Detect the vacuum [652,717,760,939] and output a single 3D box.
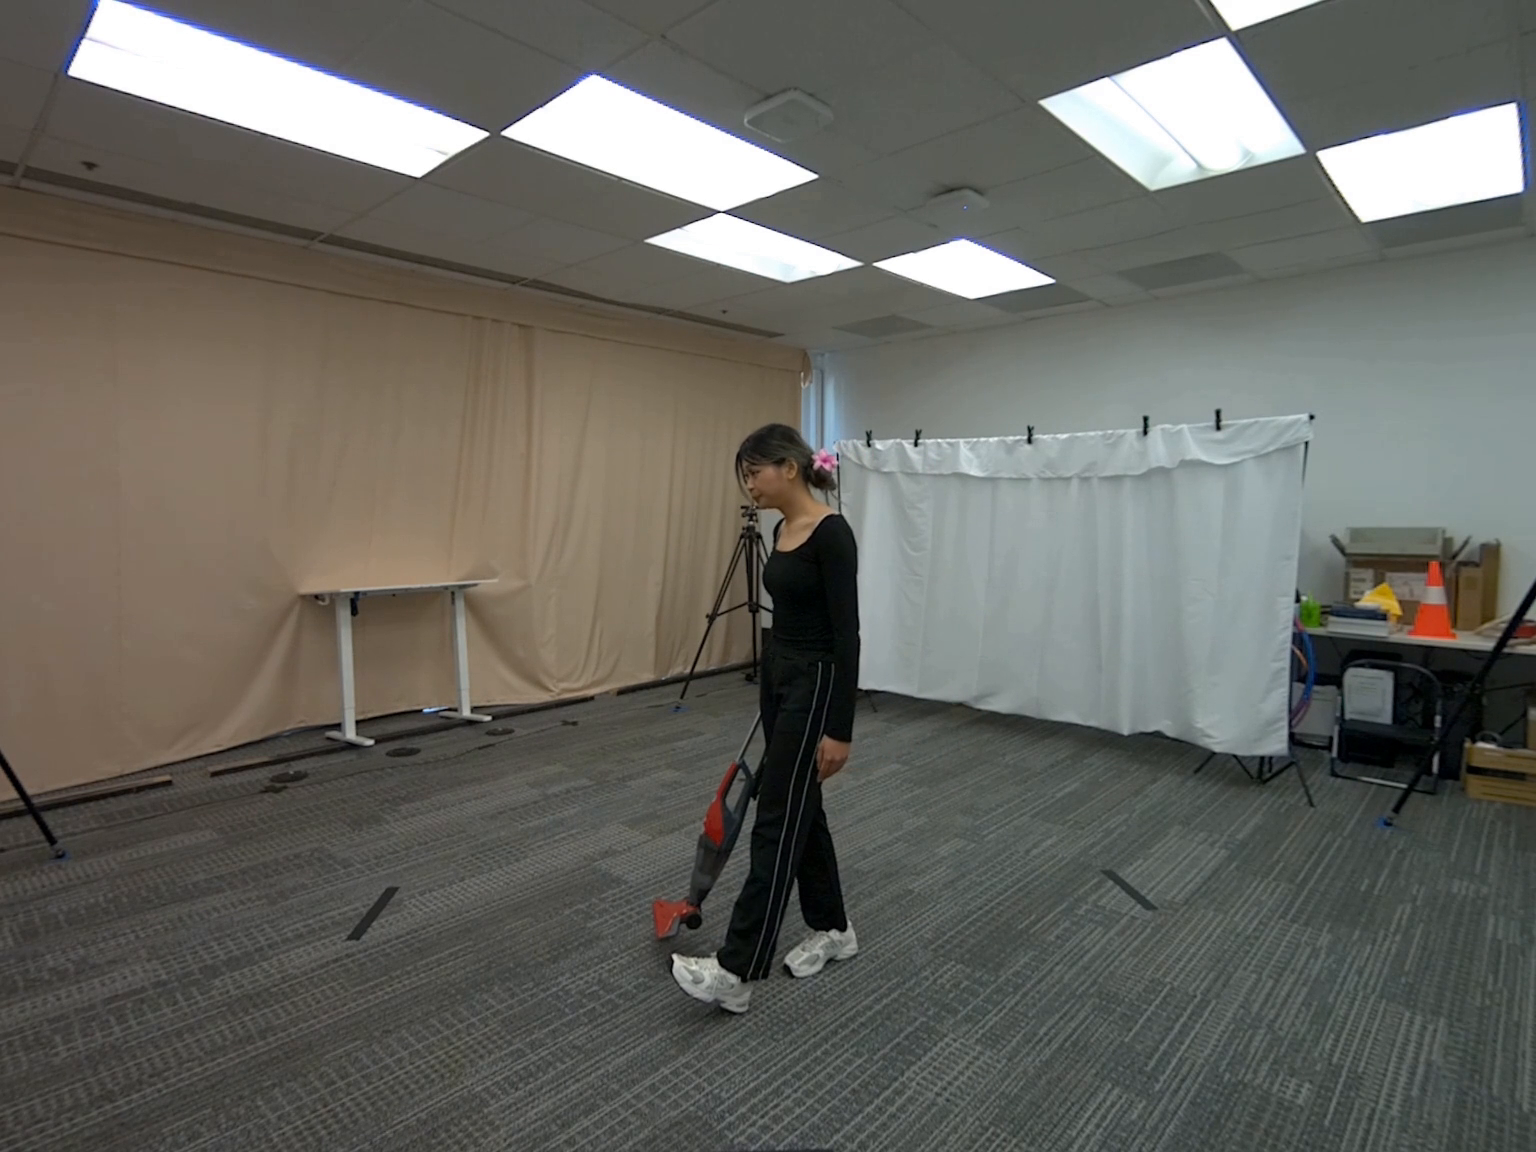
[{"bbox_3d":[-0.067,0.617,2.672,0.143,1.049,0.253,26,-4,-4],"label":"vacuum"}]
